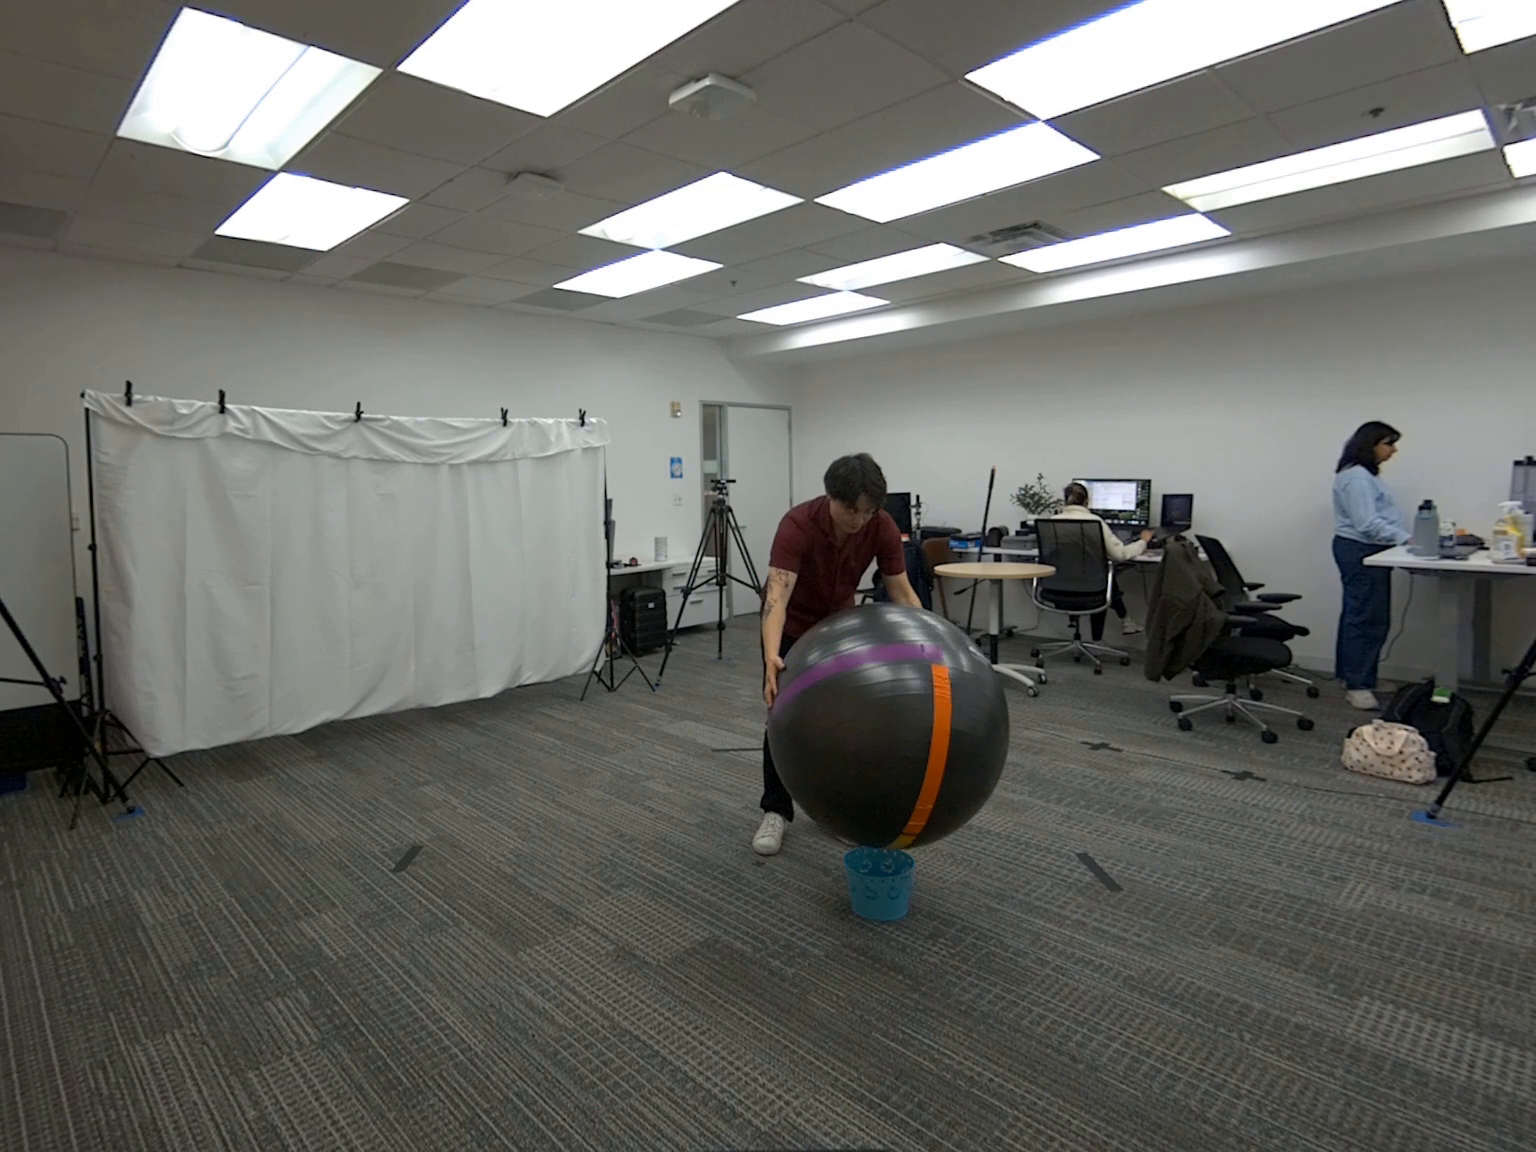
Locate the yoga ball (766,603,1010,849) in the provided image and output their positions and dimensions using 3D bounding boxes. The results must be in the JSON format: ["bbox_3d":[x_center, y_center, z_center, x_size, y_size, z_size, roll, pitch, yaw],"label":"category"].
[{"bbox_3d":[0.376,0.470,2.719,0.757,0.755,0.762,-1,5,-2],"label":"yoga ball"}]
